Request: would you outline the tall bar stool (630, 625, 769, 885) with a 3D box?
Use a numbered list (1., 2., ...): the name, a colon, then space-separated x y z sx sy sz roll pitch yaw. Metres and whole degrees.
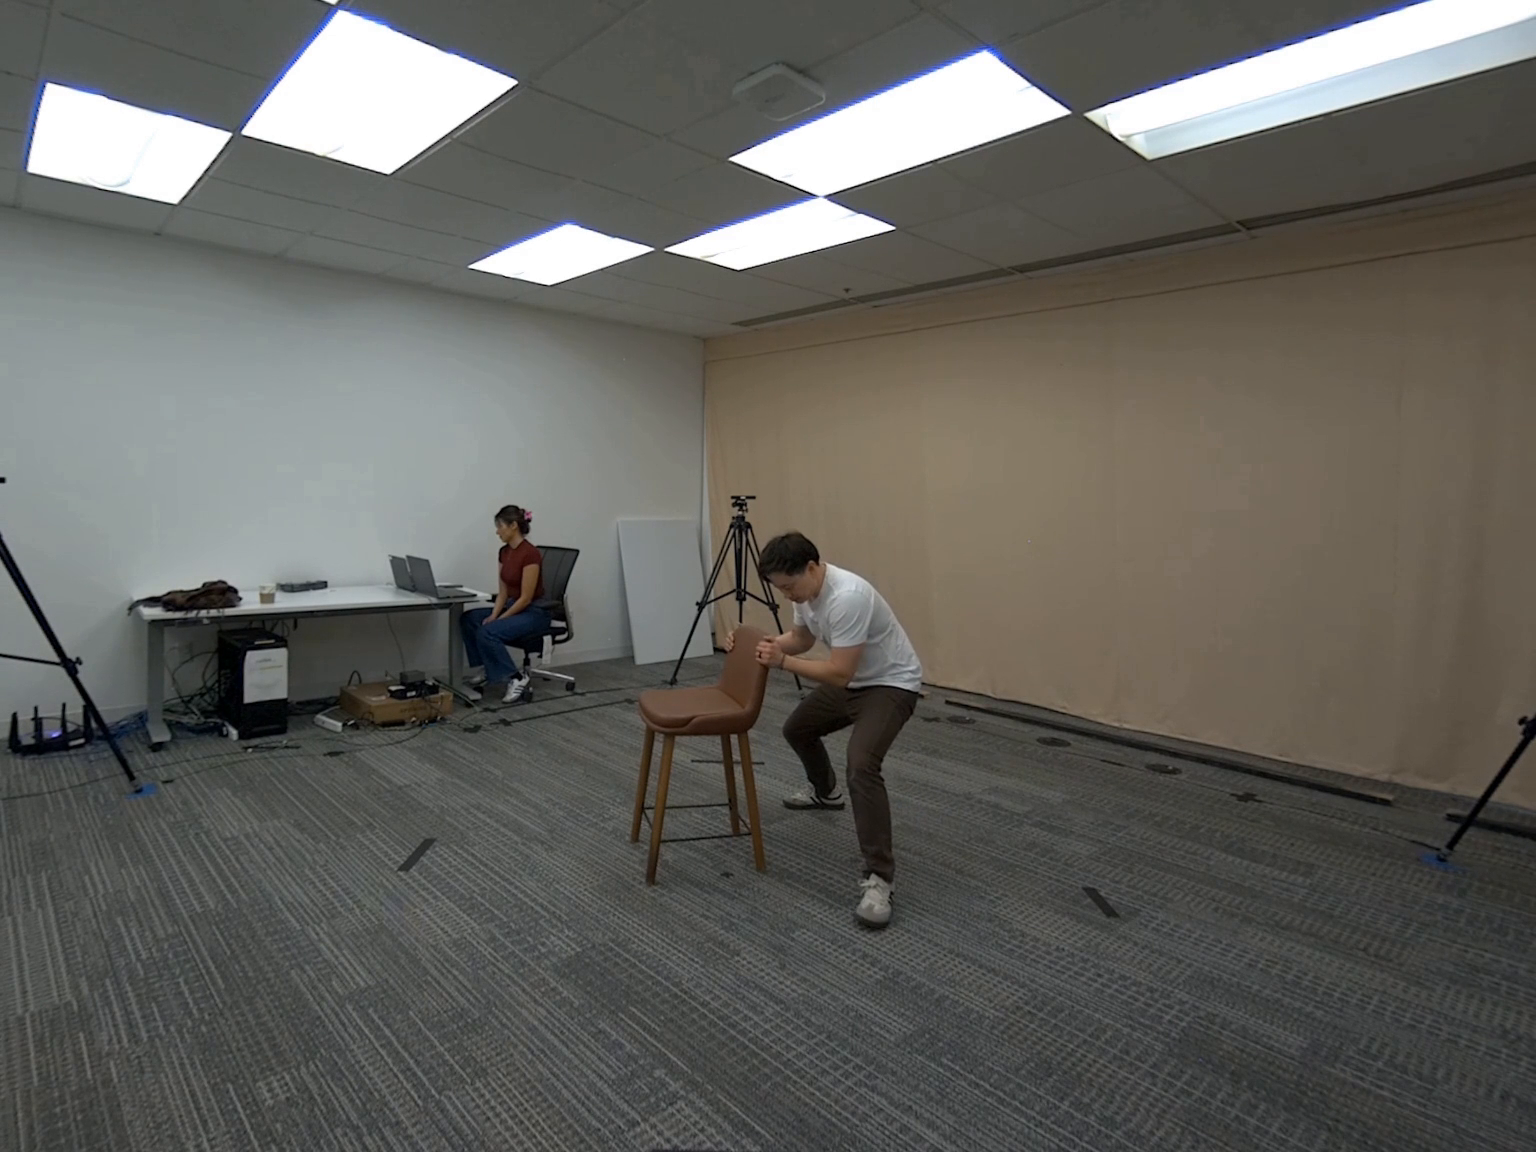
1. tall bar stool: -0.263 0.647 3.230 0.461 0.888 0.464 3 3 -17
